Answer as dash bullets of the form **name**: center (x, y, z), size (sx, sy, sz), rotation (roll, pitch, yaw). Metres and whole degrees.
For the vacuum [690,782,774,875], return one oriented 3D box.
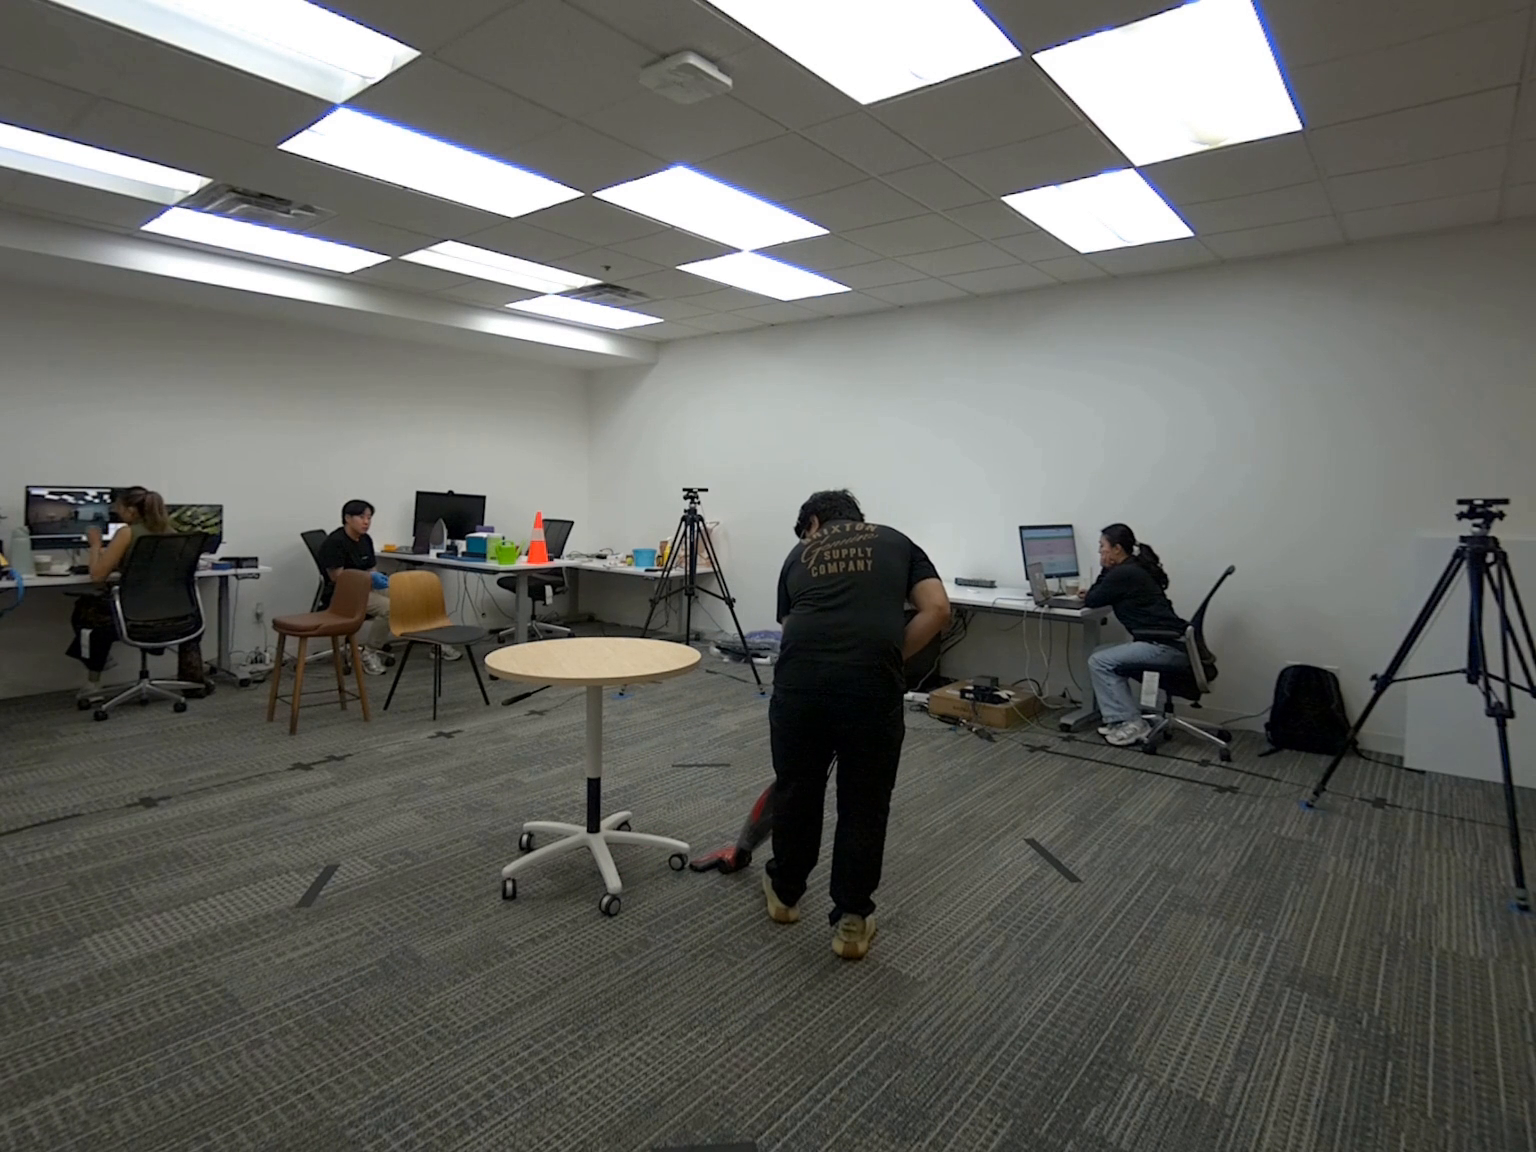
- **vacuum**: center (0.086, 0.693, 2.916), size (0.244, 1.045, 0.149), rotation (4, 43, -46)
